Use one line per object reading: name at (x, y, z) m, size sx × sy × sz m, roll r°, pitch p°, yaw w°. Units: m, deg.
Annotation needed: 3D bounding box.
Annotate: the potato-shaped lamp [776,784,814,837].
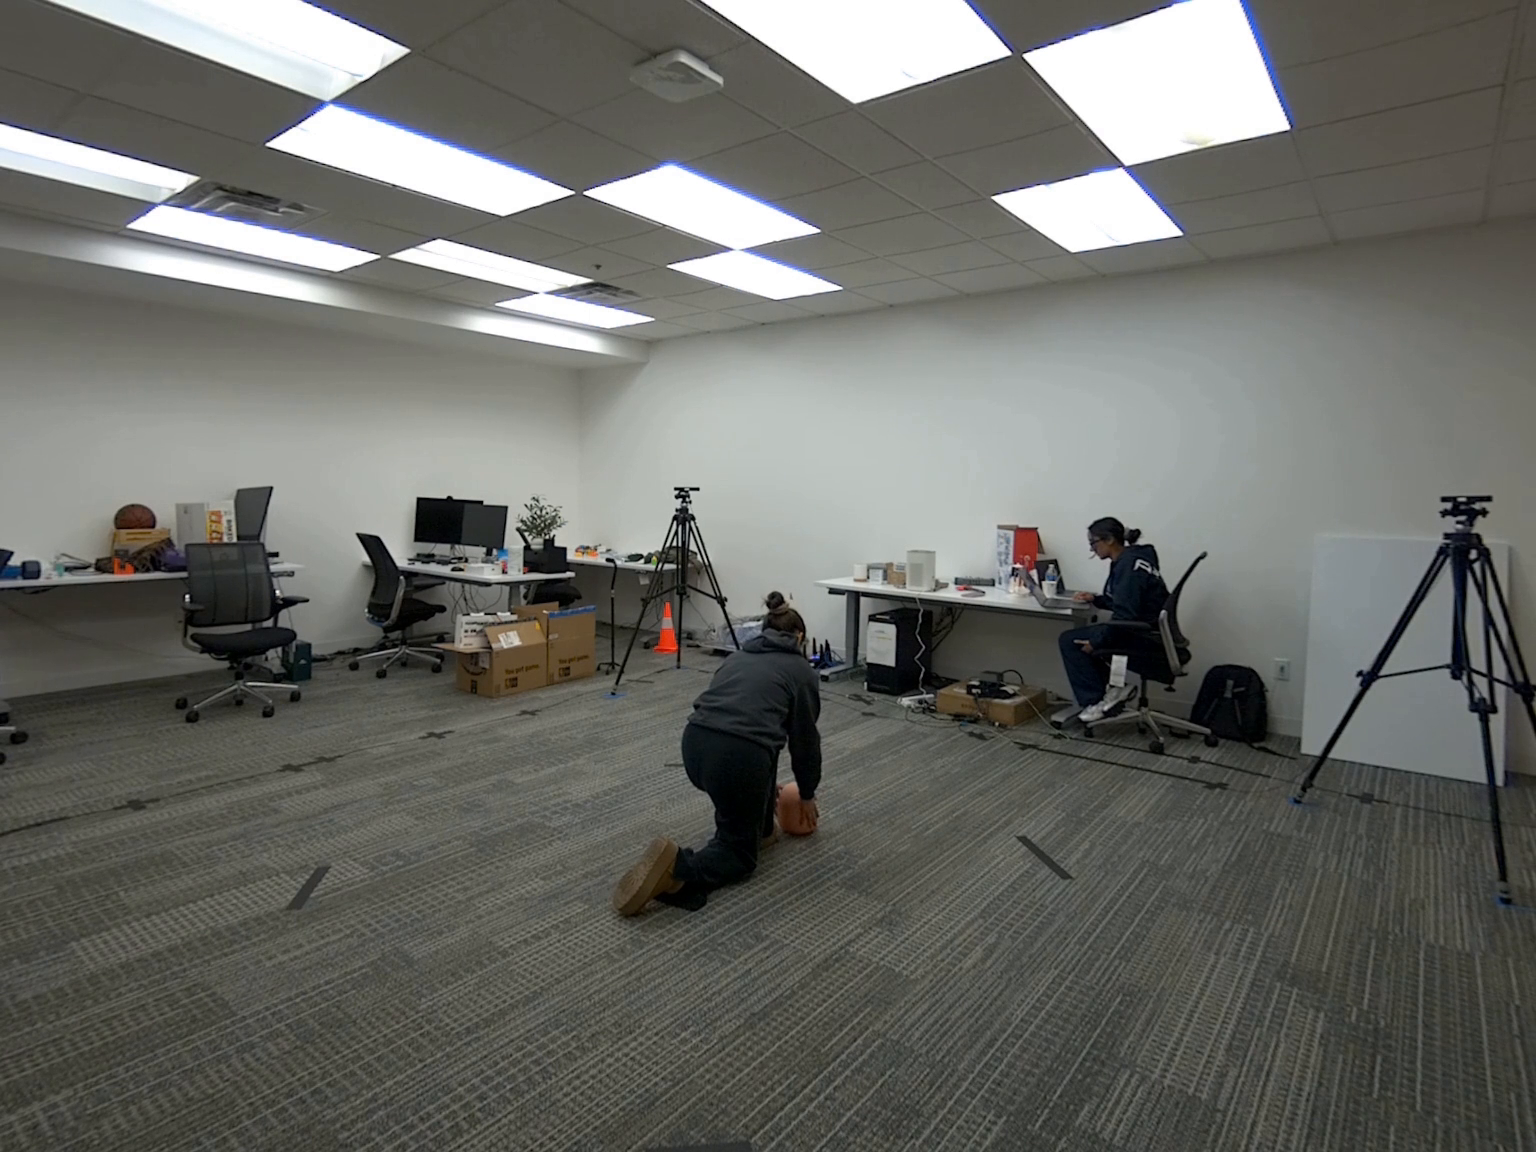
potato-shaped lamp at (0.119, 0.939, 3.470) m, size 0.169 × 0.197 × 0.167 m, roll 2°, pitch 7°, yaw 31°
